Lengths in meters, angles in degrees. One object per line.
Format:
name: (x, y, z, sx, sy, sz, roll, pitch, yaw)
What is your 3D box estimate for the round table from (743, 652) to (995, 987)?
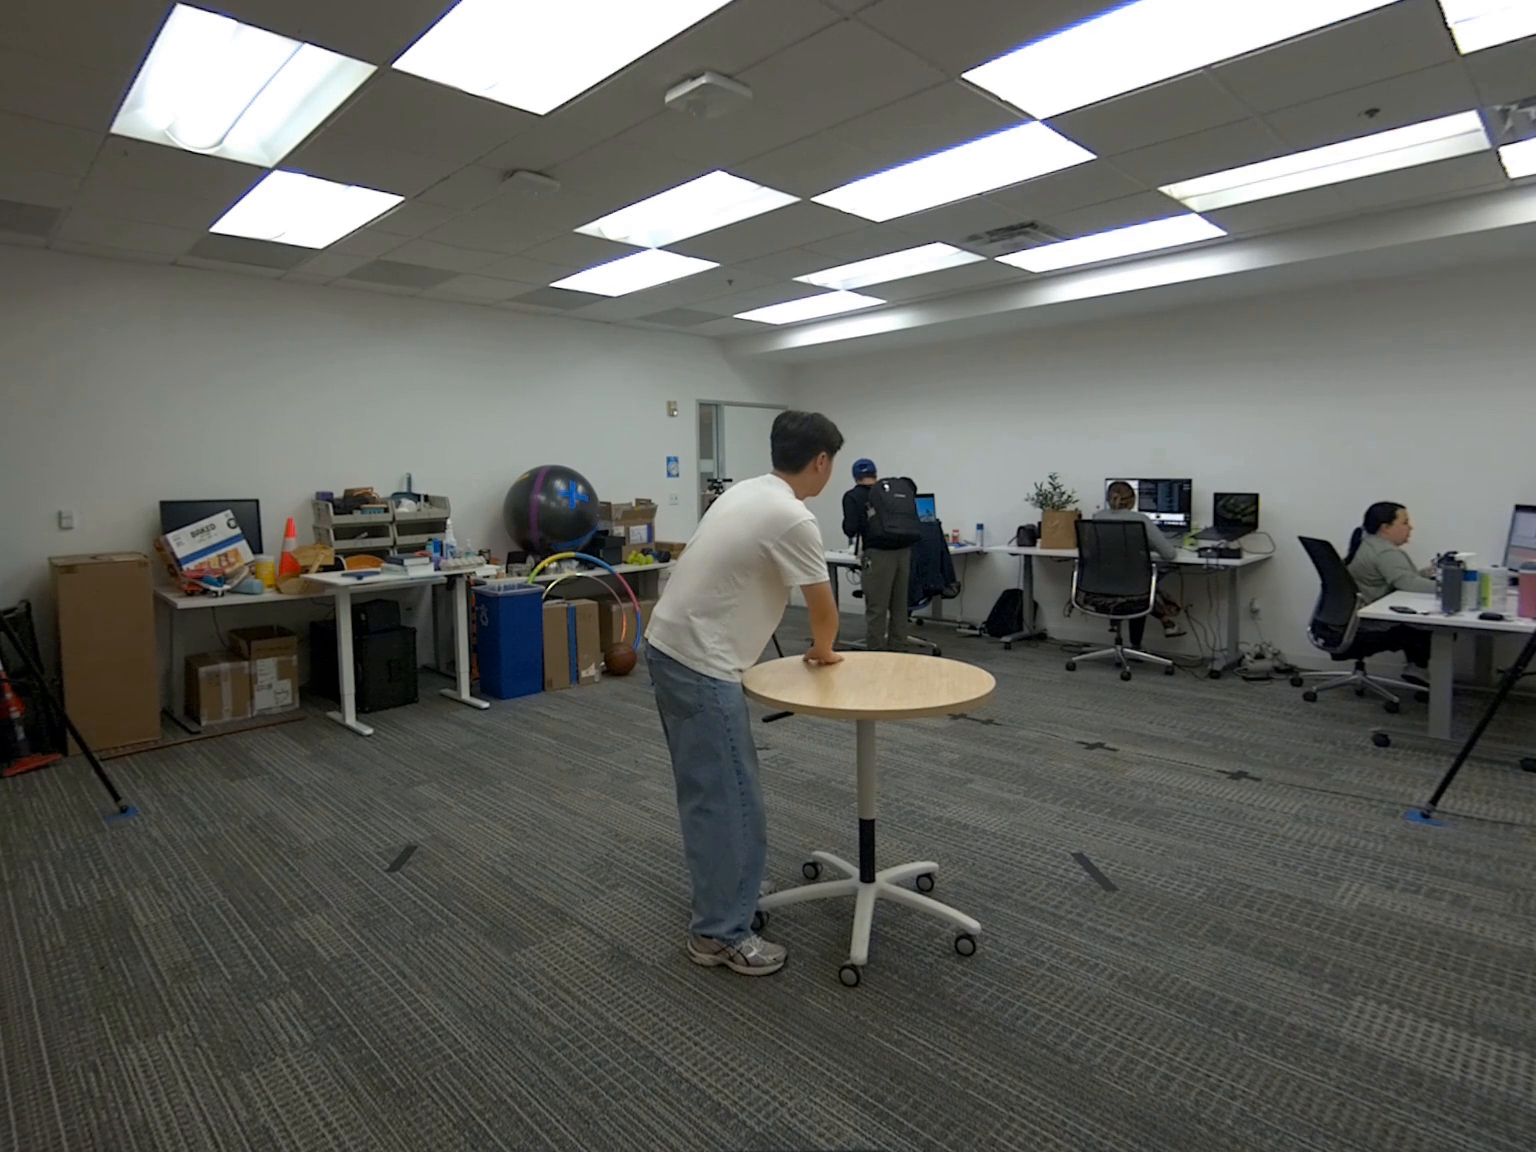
round table: (0.309, 0.698, 2.661, 0.763, 0.791, 0.768, -1, 5, -2)
